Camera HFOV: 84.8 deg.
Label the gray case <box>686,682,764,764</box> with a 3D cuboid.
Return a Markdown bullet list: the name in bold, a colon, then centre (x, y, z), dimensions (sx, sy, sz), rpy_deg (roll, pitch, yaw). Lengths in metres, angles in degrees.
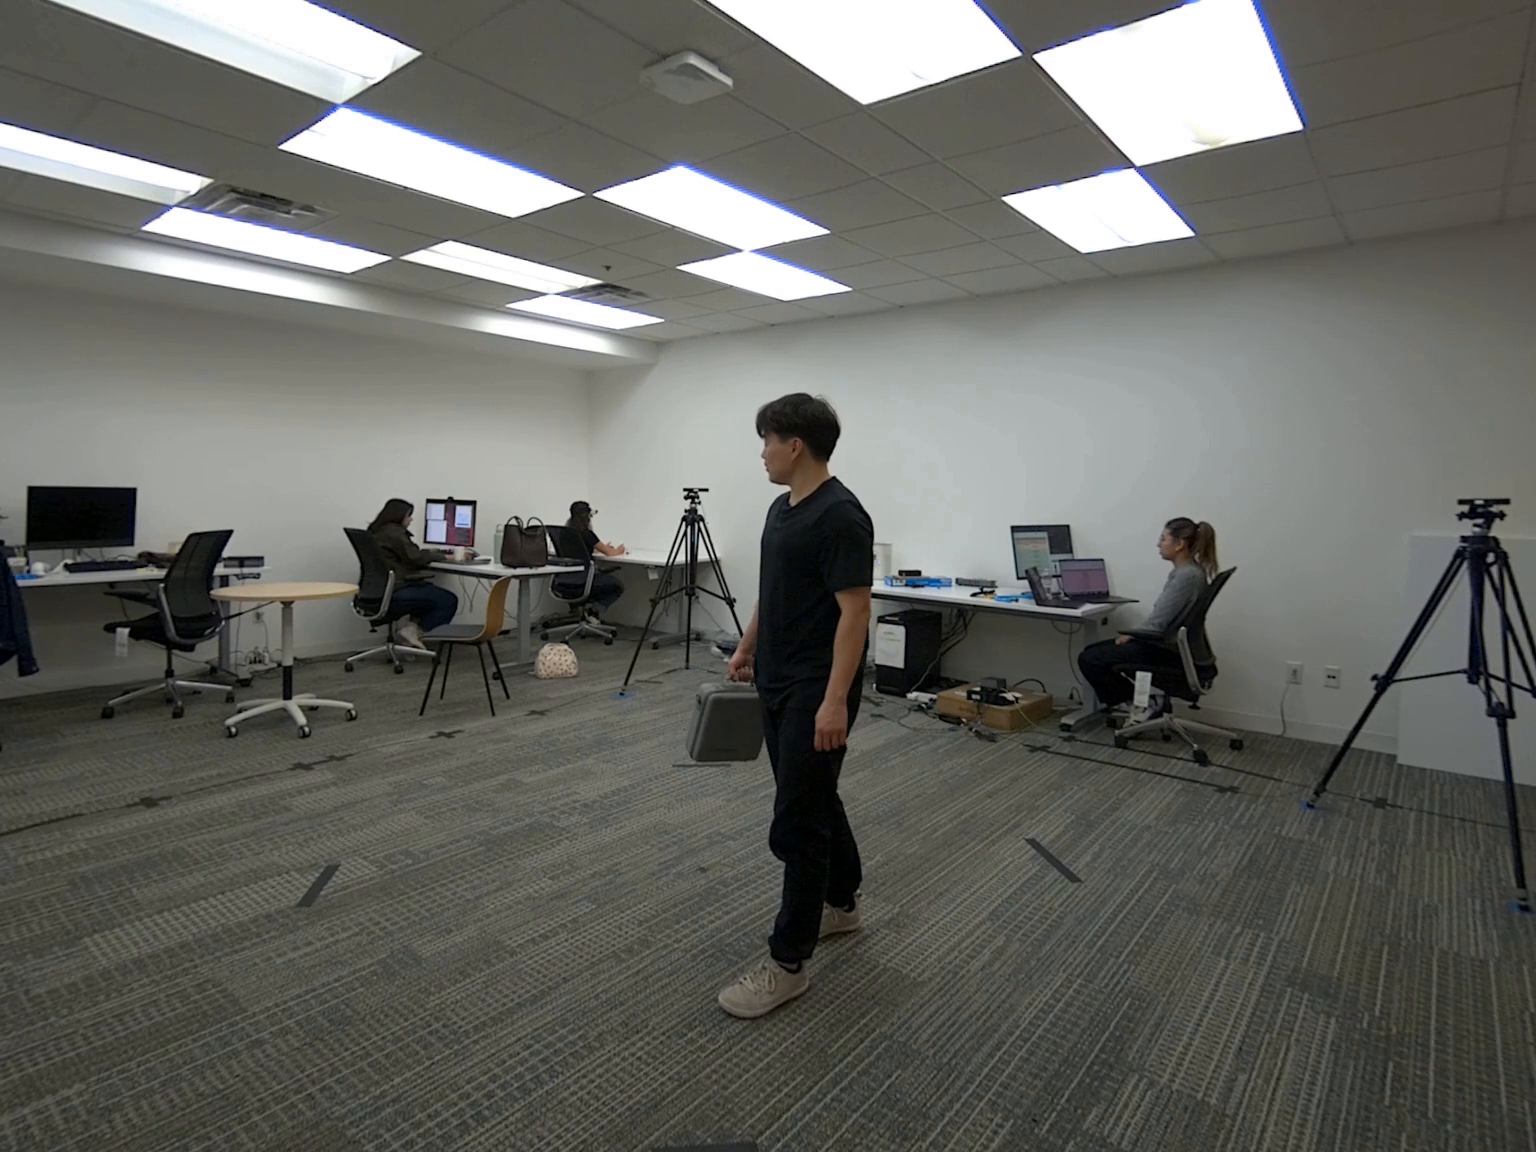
- **gray case**: centre (-0.127, 0.472, 2.786), dimensions (0.250, 0.258, 0.108), rpy_deg (7, 14, -28)
